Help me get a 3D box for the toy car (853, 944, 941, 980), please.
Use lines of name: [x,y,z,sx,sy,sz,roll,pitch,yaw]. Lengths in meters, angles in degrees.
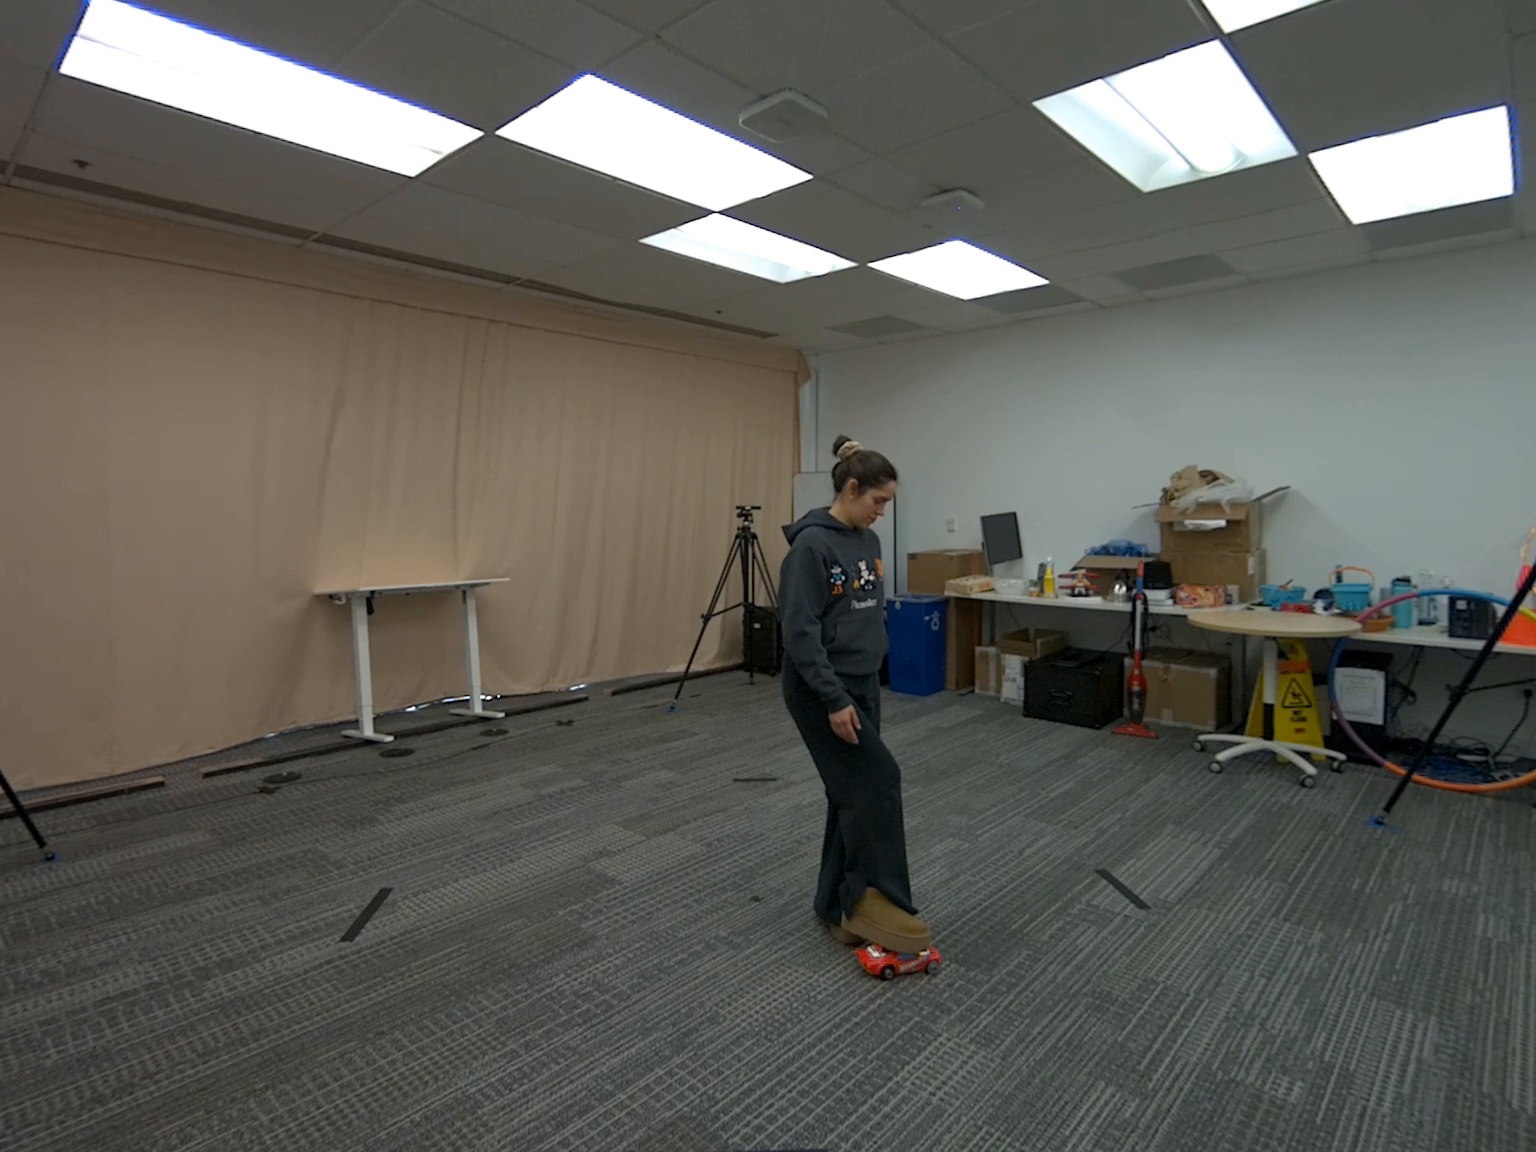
toy car: [0.408,1.143,2.523,0.251,0.083,0.132,10,2,-13]
